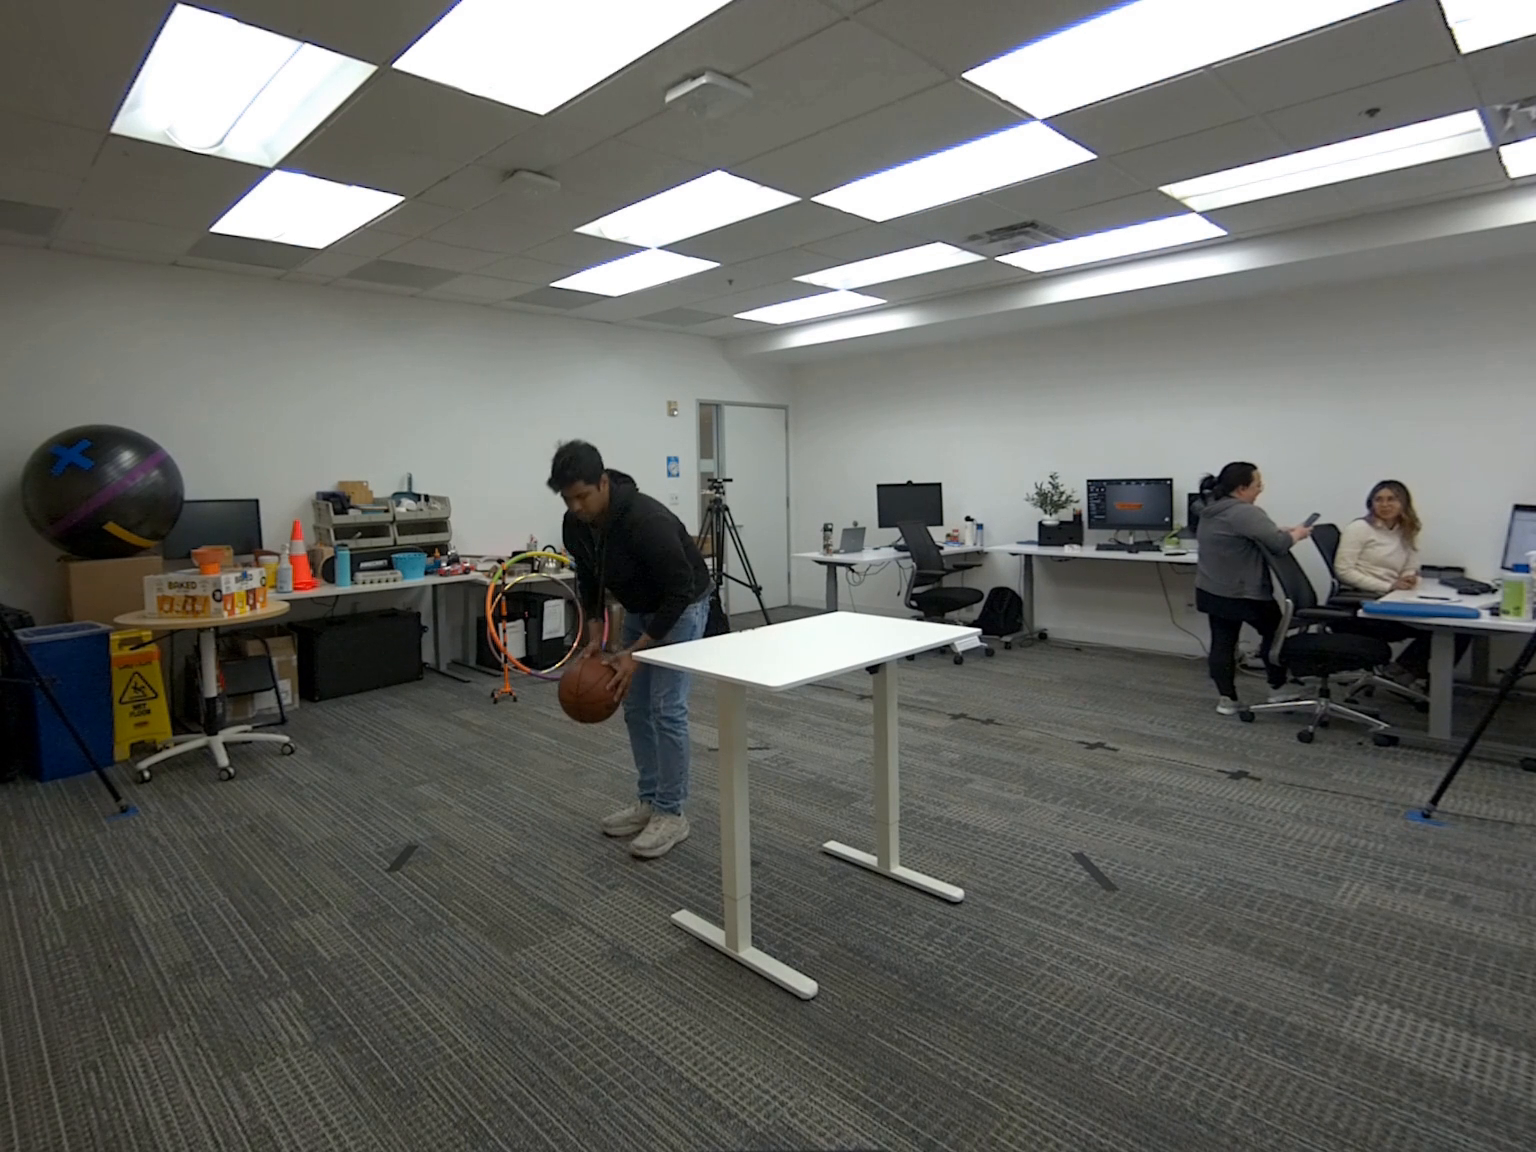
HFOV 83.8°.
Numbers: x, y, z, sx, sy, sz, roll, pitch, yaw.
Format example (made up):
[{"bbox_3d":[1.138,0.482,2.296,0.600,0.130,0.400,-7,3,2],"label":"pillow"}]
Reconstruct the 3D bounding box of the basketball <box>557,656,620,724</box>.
[{"bbox_3d":[-0.652,0.430,3.148,0.236,0.235,0.237,-1,5,-2],"label":"basketball"}]
